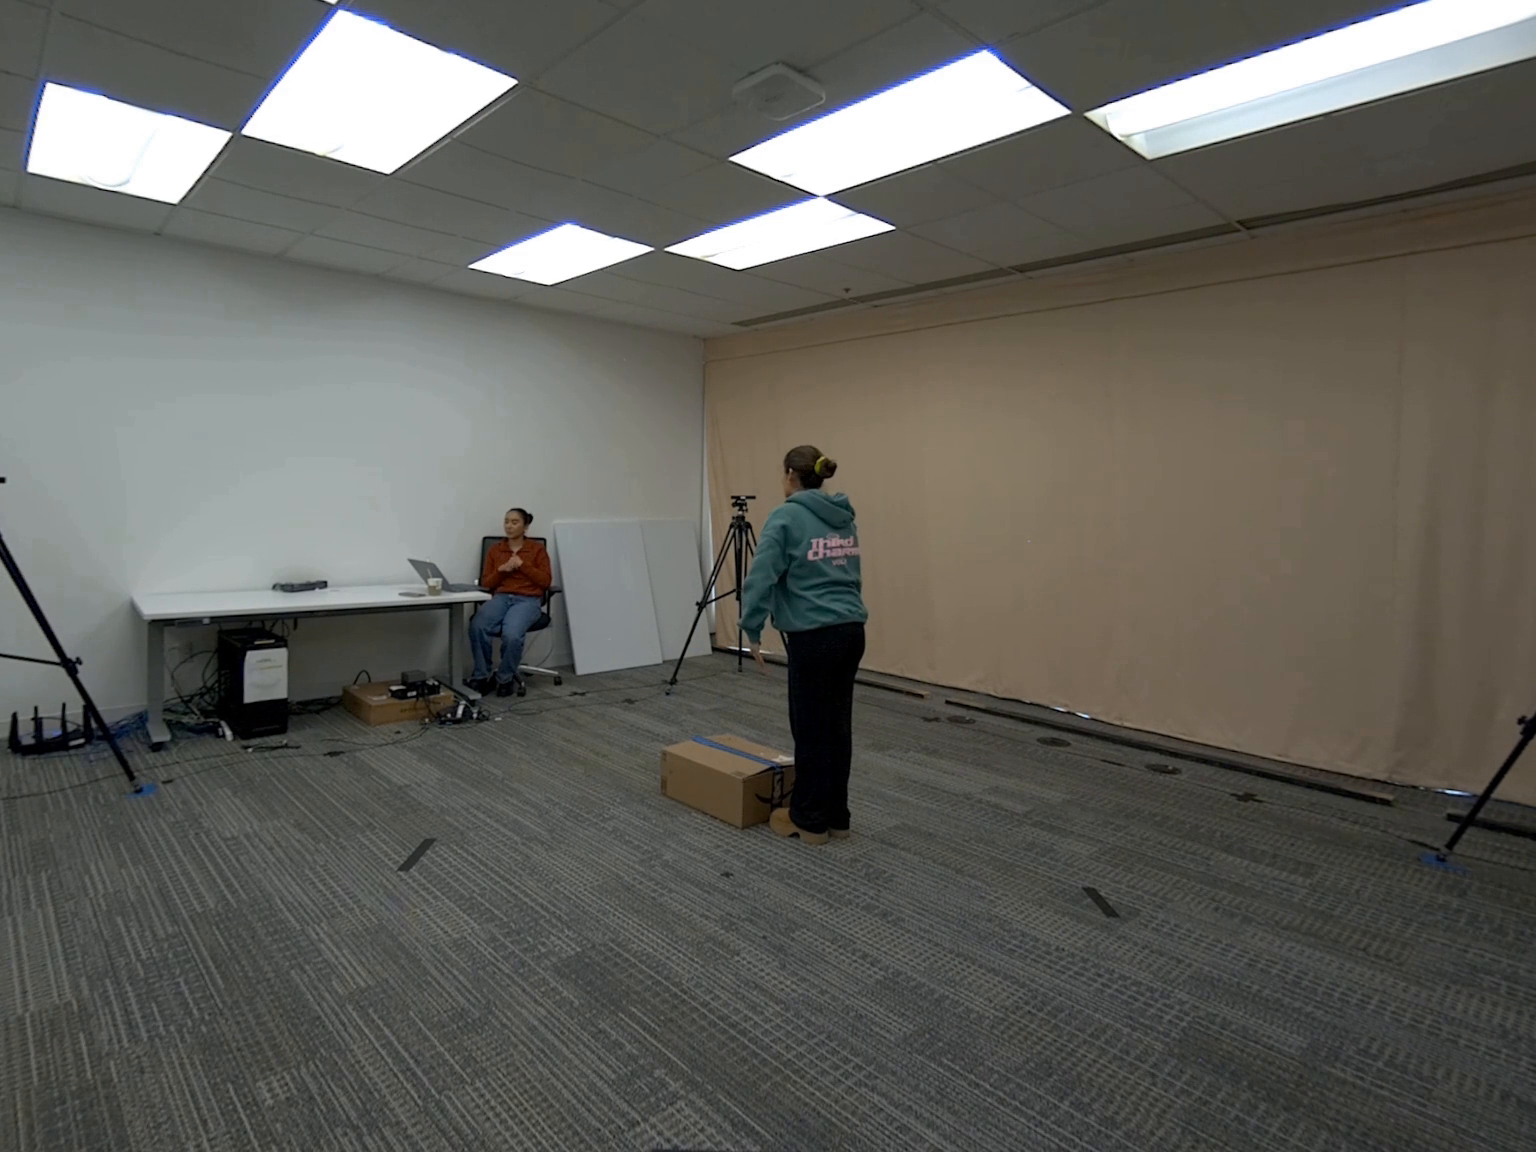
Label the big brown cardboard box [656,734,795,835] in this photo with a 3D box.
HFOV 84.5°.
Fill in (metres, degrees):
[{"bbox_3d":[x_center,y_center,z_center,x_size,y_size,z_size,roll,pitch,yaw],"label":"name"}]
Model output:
[{"bbox_3d":[-0.165,0.930,3.871,0.408,0.233,0.604,-2,5,-44],"label":"big brown cardboard box"}]
